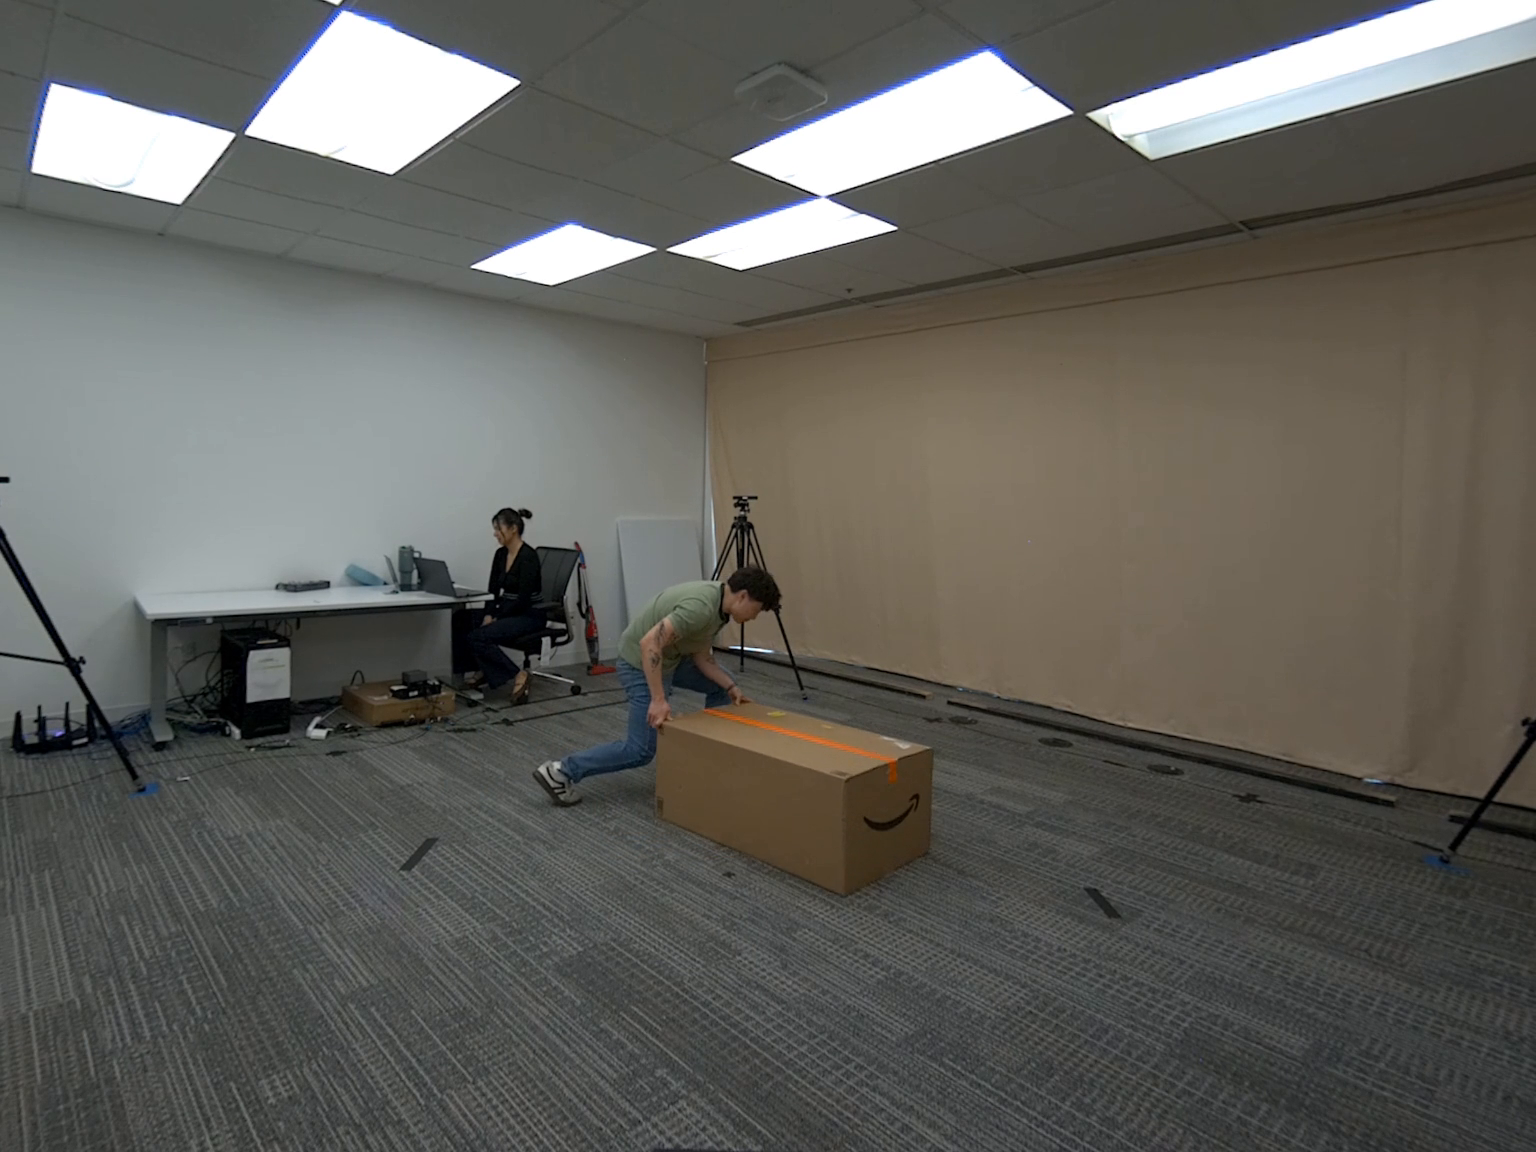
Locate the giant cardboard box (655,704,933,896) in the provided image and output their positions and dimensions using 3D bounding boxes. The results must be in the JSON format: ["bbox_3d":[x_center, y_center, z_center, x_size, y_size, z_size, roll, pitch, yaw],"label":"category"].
[{"bbox_3d":[0.075,0.862,3.487,1.052,0.425,0.564,5,5,44],"label":"giant cardboard box"}]
